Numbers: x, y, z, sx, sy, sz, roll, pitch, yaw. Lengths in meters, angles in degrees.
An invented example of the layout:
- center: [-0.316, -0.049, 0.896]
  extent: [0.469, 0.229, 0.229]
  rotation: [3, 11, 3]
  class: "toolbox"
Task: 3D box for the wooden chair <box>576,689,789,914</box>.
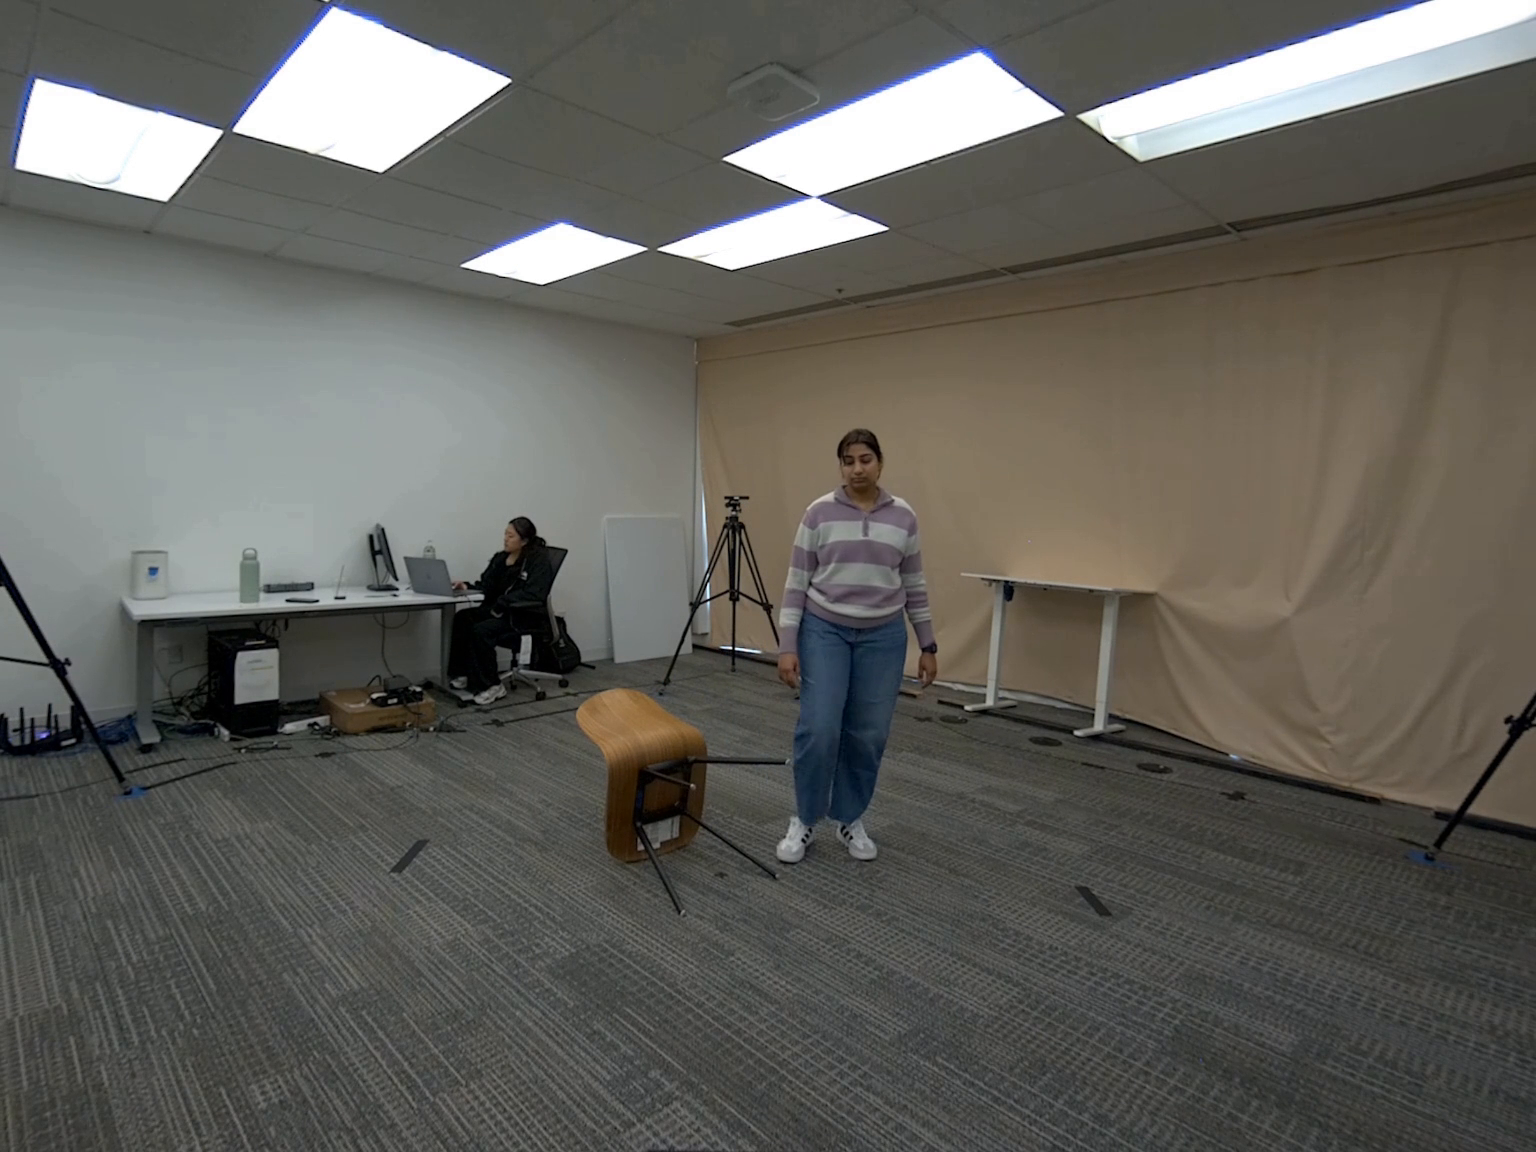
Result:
- center: [-0.401, 0.833, 3.228]
  extent: [0.467, 0.519, 0.903]
  rotation: [-3, 15, -42]
  class: "wooden chair"
